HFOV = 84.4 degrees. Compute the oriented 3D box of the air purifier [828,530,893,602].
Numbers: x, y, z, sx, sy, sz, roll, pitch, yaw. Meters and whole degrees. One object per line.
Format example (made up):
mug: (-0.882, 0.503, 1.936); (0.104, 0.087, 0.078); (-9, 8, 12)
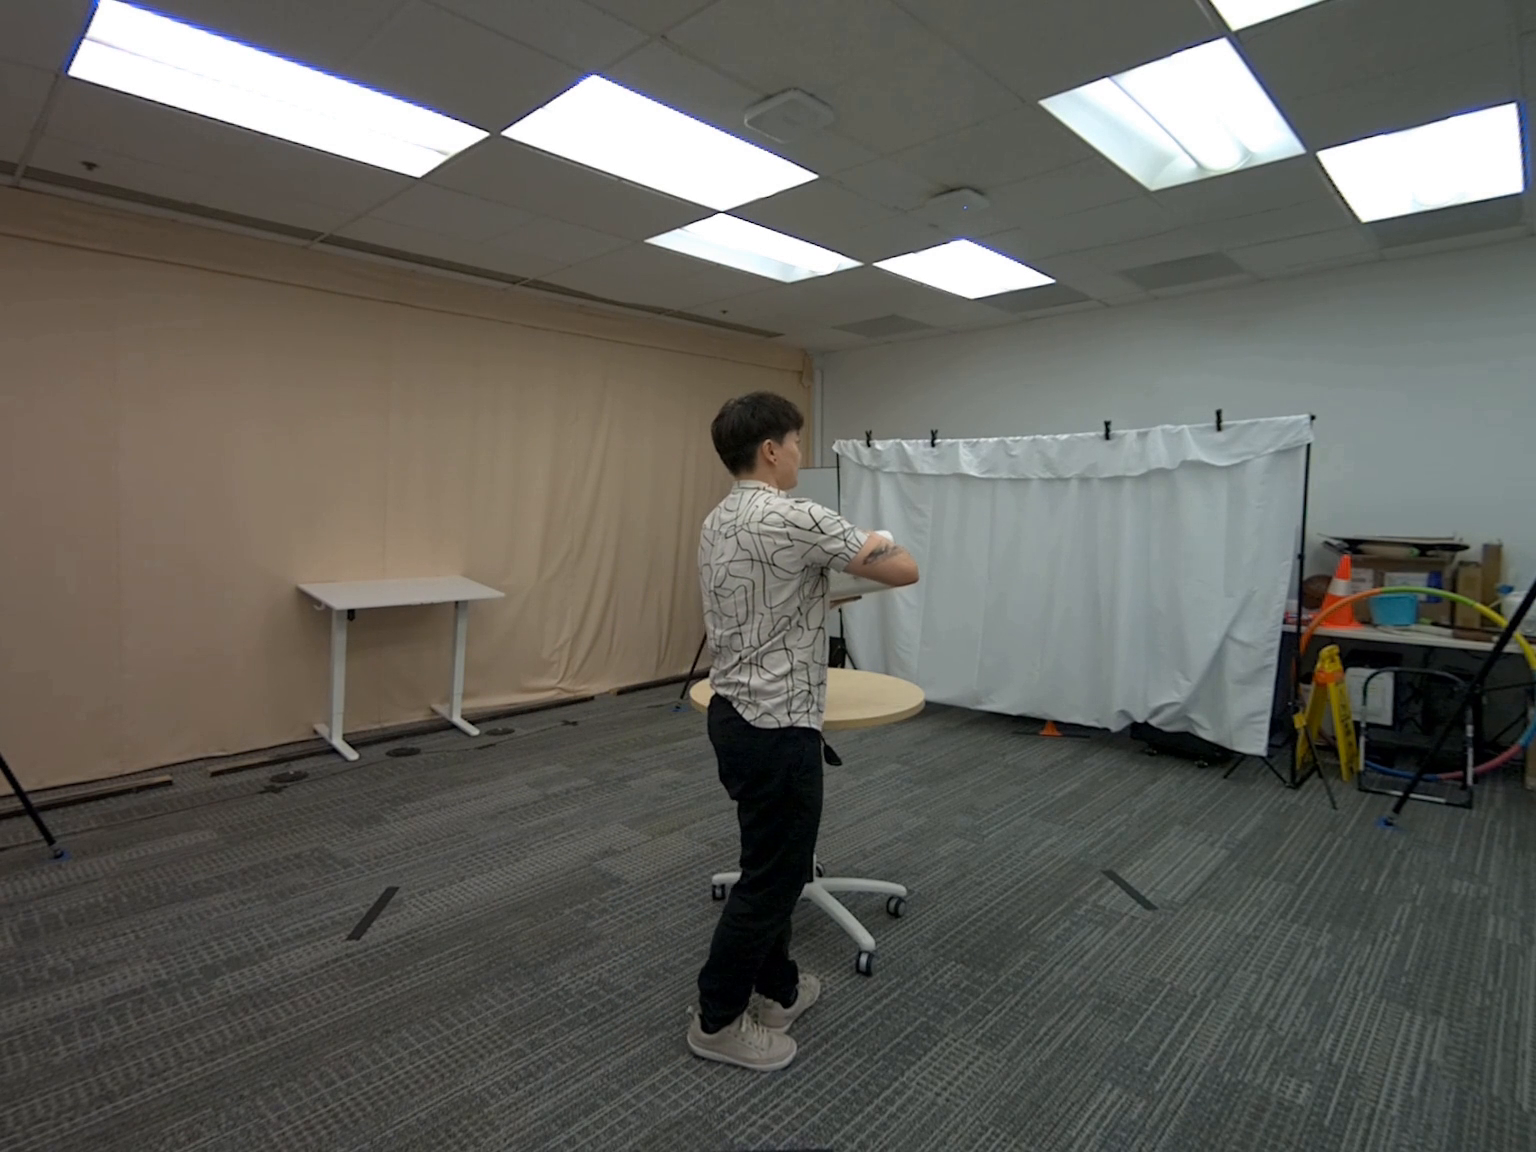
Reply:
air purifier: (0.231, -0.027, 2.387); (0.262, 0.171, 0.173); (-10, 2, -15)
